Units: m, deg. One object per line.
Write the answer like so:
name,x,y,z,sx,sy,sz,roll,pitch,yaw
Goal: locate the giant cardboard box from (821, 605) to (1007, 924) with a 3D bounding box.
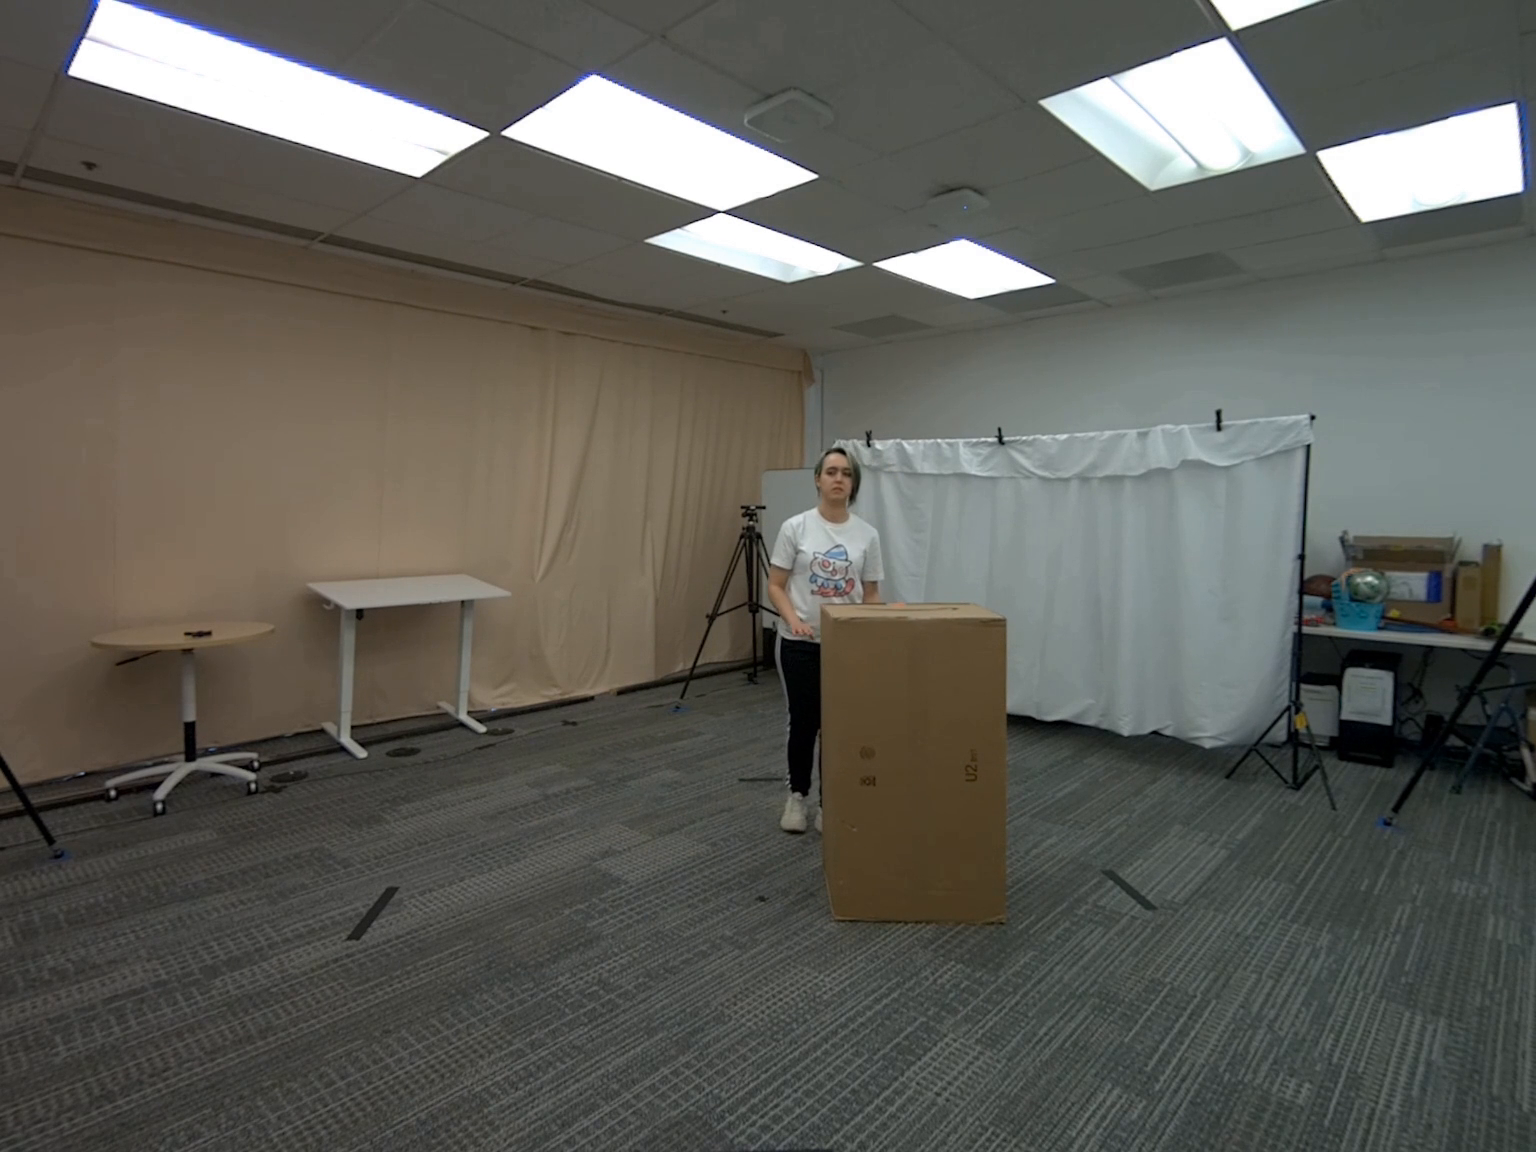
giant cardboard box,0.506,0.634,2.998,0.579,1.024,0.426,0,3,2
